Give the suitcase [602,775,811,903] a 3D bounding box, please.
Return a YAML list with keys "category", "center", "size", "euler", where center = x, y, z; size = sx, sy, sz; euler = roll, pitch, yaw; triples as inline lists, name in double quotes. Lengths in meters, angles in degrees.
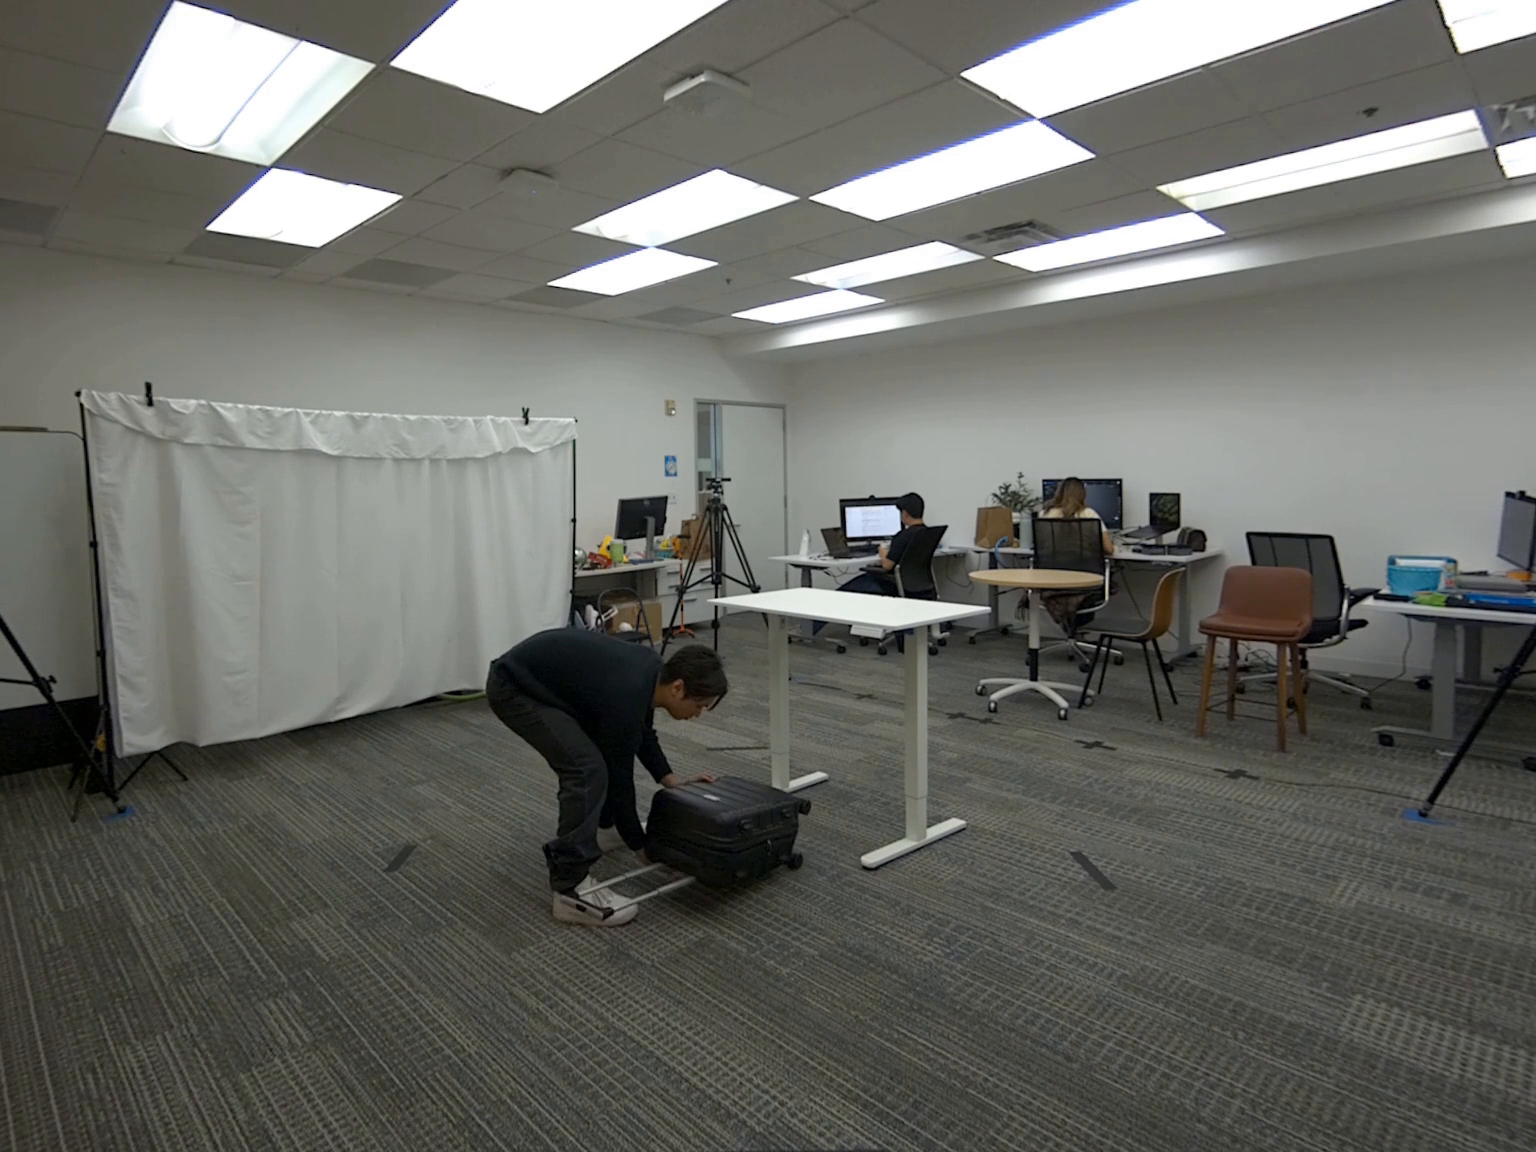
- category: "suitcase"
  center: [-0.246, 0.843, 2.786]
  size: [0.396, 0.257, 0.948]
  euler: [9, -2, 33]
